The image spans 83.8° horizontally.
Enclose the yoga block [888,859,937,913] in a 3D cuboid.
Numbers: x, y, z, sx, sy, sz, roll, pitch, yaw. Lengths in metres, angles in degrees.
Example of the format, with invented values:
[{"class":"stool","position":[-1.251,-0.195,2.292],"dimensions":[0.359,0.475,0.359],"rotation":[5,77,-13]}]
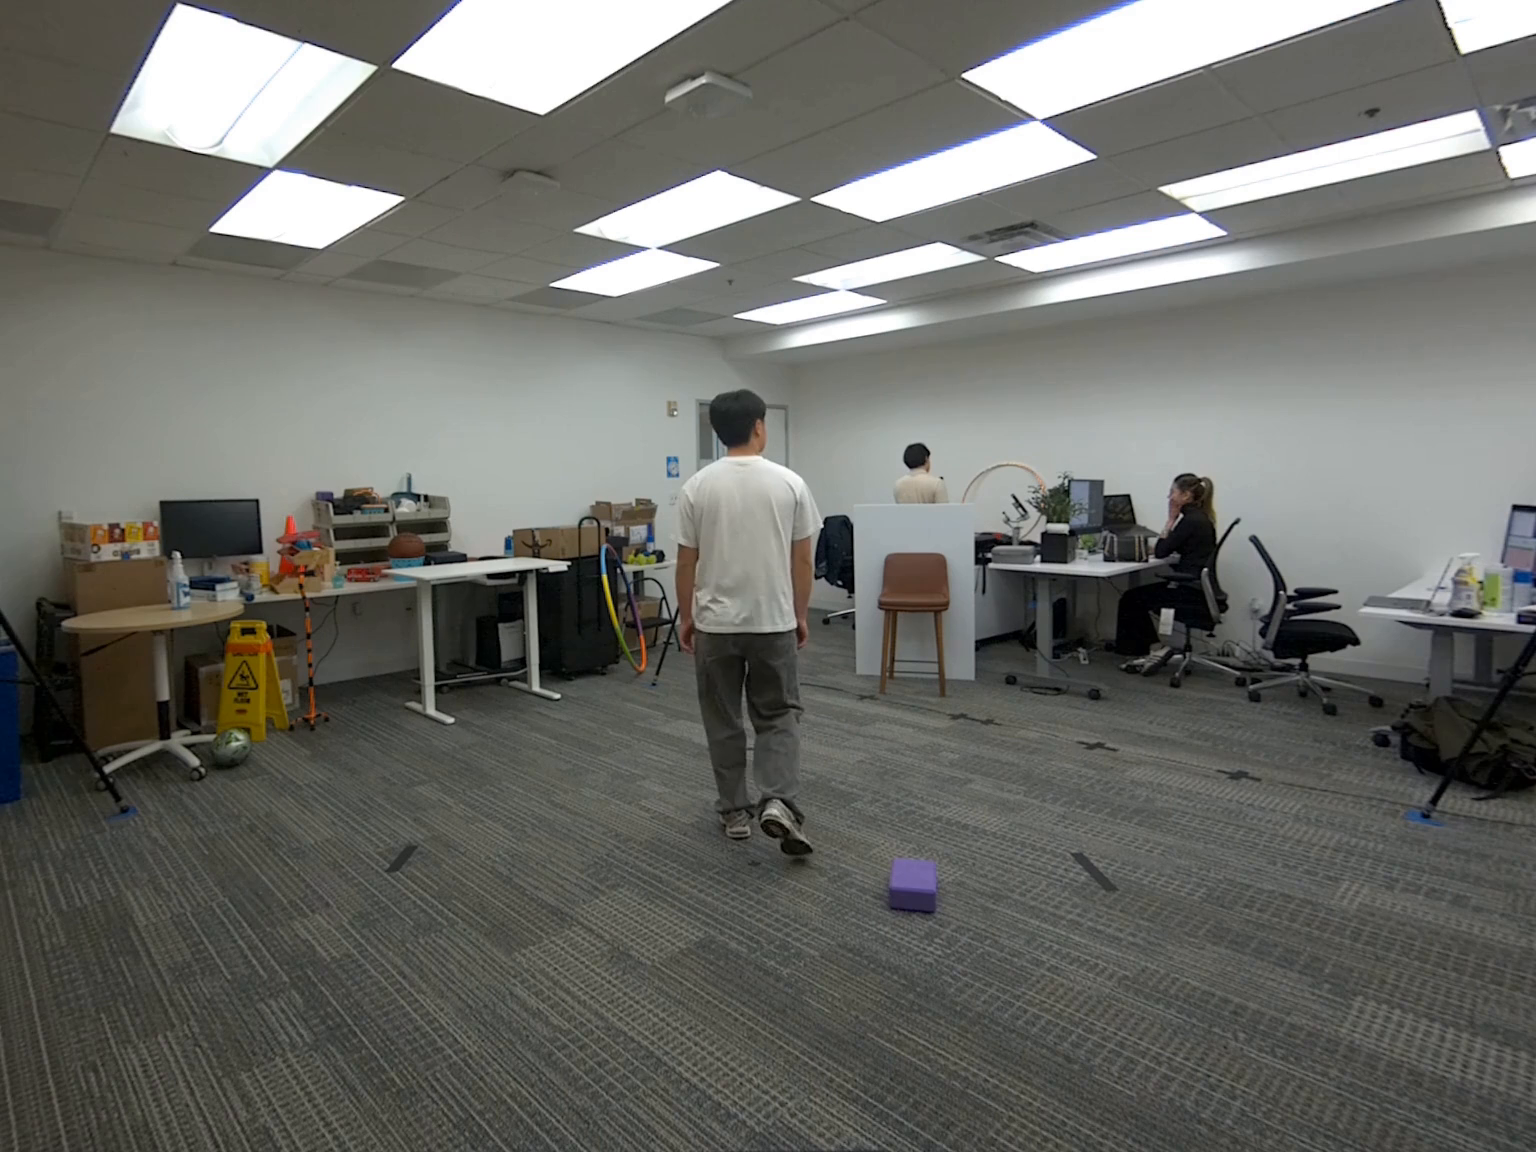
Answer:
[{"class":"yoga block","position":[0.488,1.024,2.849],"dimensions":[0.151,0.076,0.227],"rotation":[-2,6,13]}]
